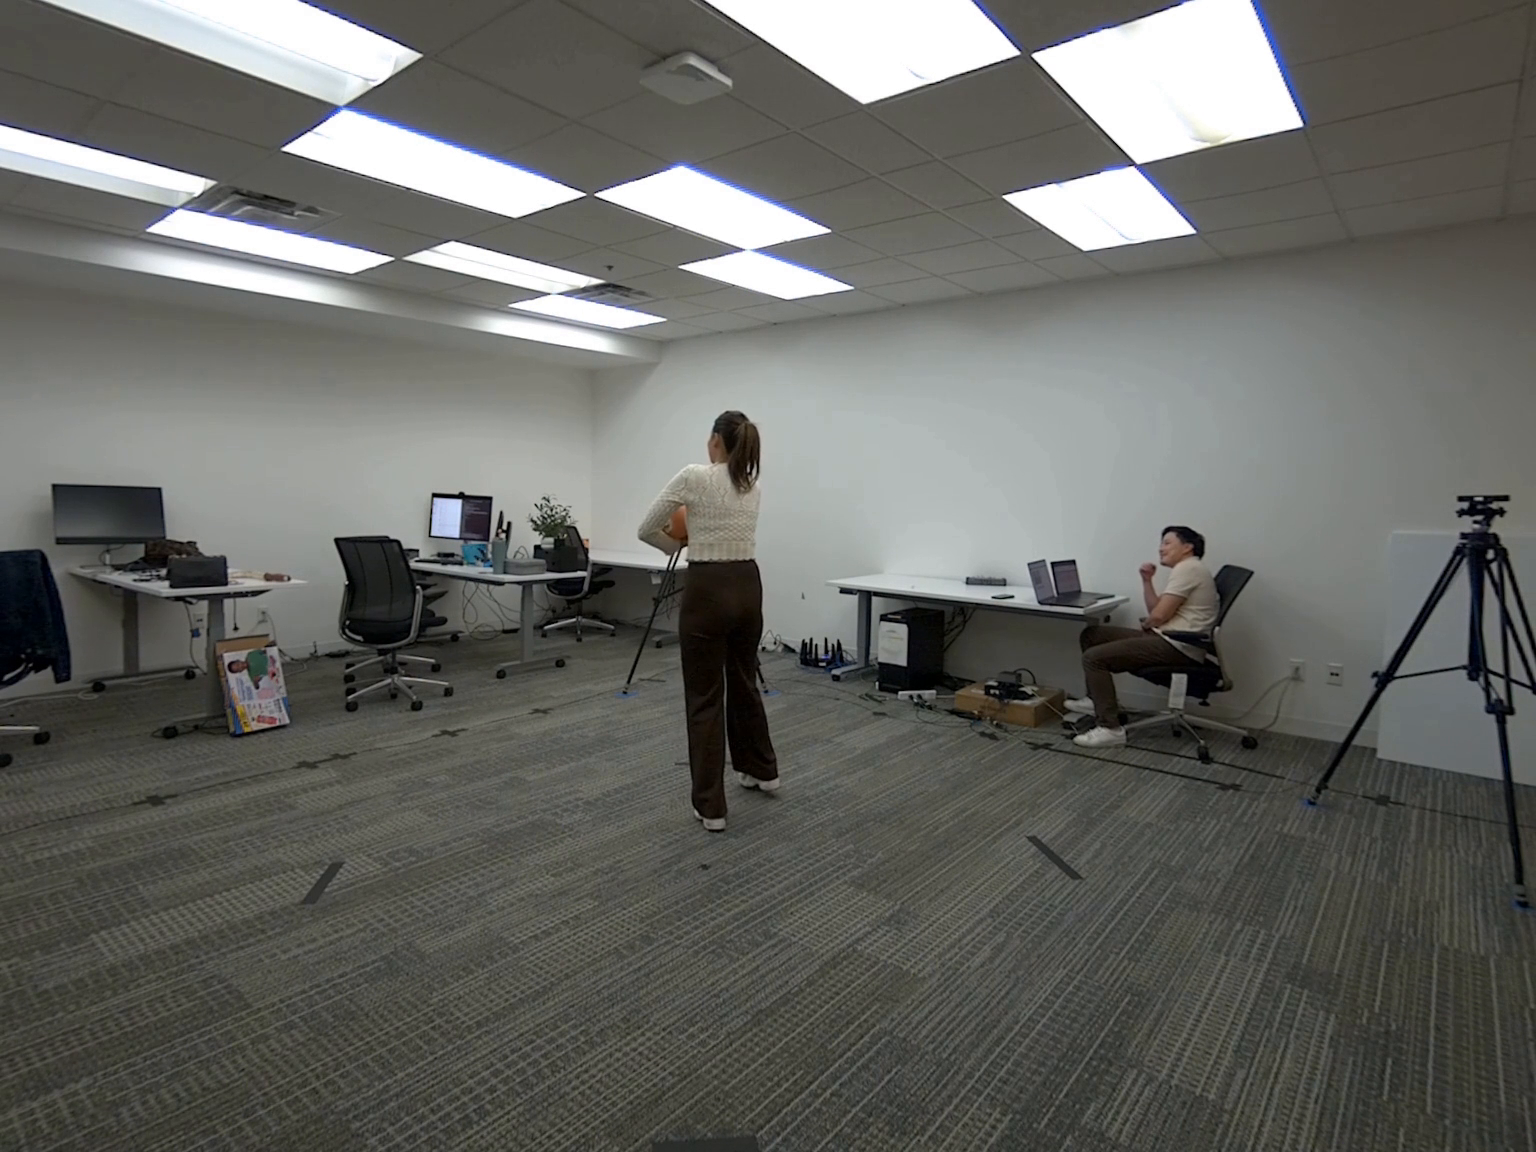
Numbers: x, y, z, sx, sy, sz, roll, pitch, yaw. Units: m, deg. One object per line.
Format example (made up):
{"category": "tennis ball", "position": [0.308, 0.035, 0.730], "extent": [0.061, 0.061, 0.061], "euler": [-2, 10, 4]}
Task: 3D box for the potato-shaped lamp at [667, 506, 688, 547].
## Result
{"category": "potato-shaped lamp", "position": [-0.387, -0.259, 3.720], "extent": [0.196, 0.171, 0.167], "euler": [-32, 6, -40]}
